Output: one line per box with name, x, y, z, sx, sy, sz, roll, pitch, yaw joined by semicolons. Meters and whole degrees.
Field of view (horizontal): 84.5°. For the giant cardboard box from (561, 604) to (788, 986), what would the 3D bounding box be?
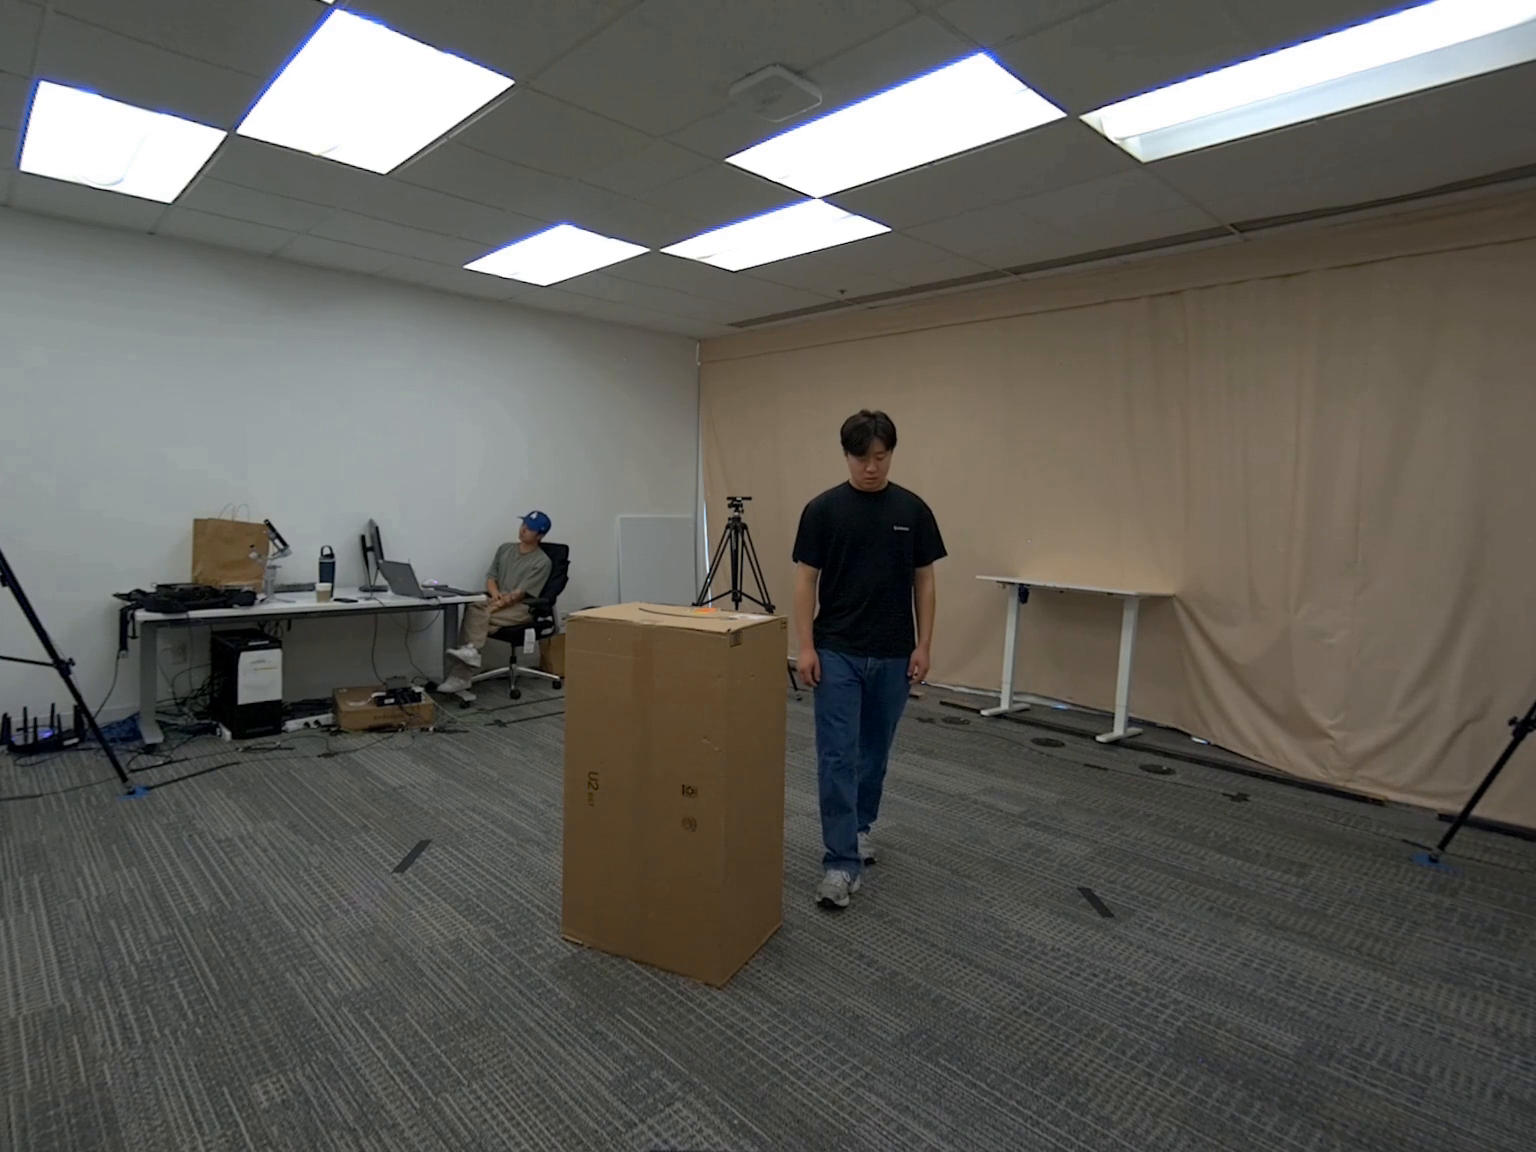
giant cardboard box;-0.294;0.630;2.676;0.596;1.025;0.438;3;2;28
